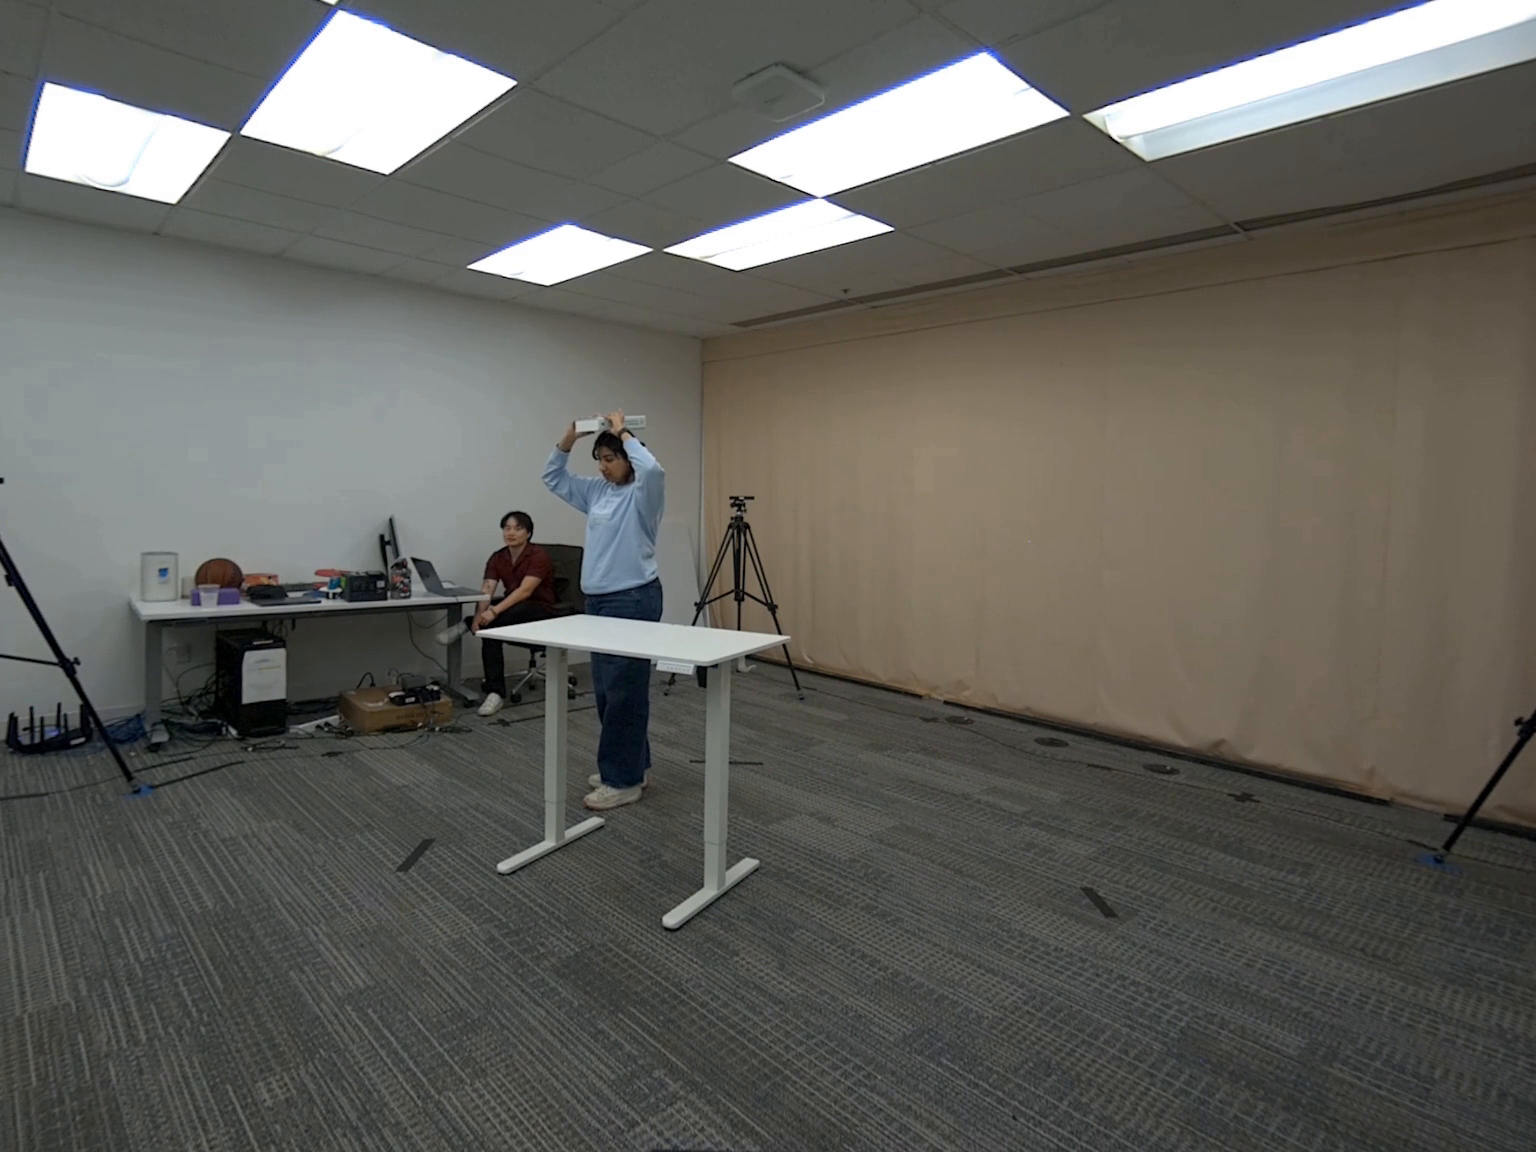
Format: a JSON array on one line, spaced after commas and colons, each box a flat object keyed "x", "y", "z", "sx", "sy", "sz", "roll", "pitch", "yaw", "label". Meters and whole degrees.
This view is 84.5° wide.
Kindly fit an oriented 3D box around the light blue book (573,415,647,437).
[{"x": -0.732, "y": -0.692, "z": 3.810, "sx": 0.256, "sy": 0.058, "sz": 0.196, "roll": -12, "pitch": 13, "yaw": -43, "label": "light blue book"}]
